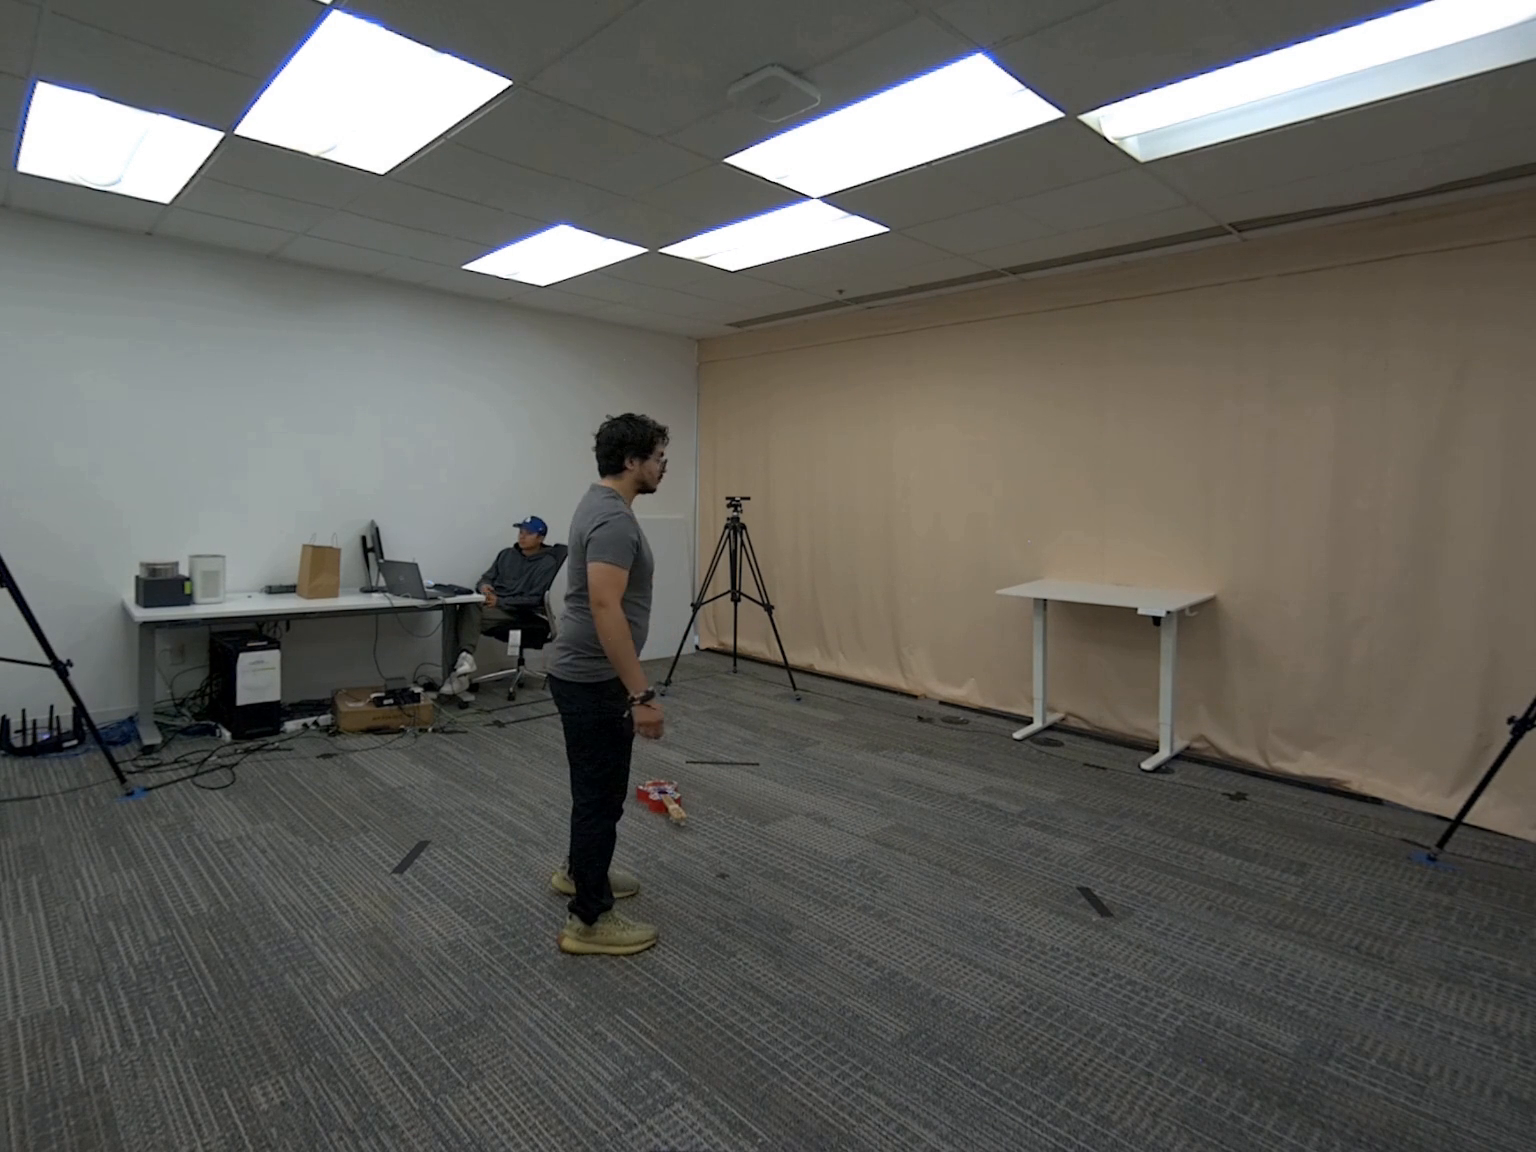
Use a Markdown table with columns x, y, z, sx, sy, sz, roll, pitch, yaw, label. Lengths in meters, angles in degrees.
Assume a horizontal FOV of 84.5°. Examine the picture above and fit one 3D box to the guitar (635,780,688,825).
| x | y | z | sx | sy | sz | roll | pitch | yaw | label |
| --- | --- | --- | --- | --- | --- | --- | --- | --- | --- |
| -0.489 | 1.010 | 3.732 | 0.191 | 0.070 | 0.503 | 0 | 5 | -11 | guitar |
